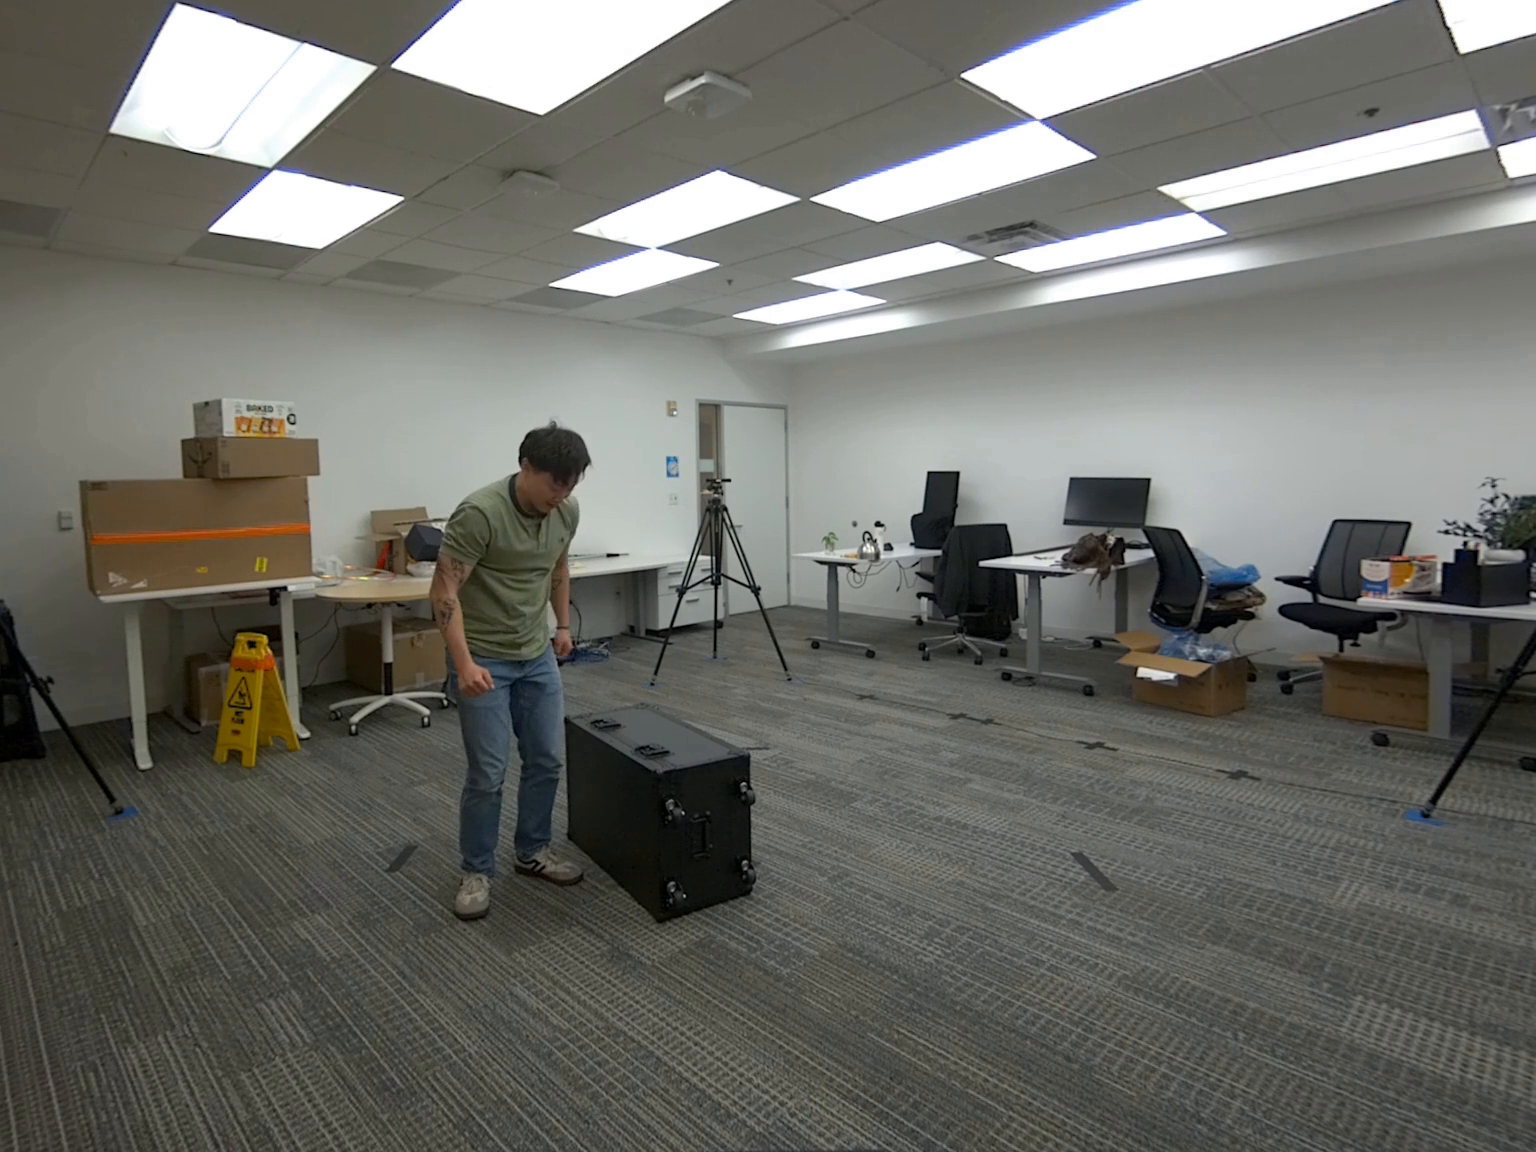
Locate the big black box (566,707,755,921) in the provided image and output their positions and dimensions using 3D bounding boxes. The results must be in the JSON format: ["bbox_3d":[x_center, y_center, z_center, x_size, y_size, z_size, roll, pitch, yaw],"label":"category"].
[{"bbox_3d":[-0.390,0.811,3.079,0.387,0.519,0.887,-4,7,-33],"label":"big black box"}]
